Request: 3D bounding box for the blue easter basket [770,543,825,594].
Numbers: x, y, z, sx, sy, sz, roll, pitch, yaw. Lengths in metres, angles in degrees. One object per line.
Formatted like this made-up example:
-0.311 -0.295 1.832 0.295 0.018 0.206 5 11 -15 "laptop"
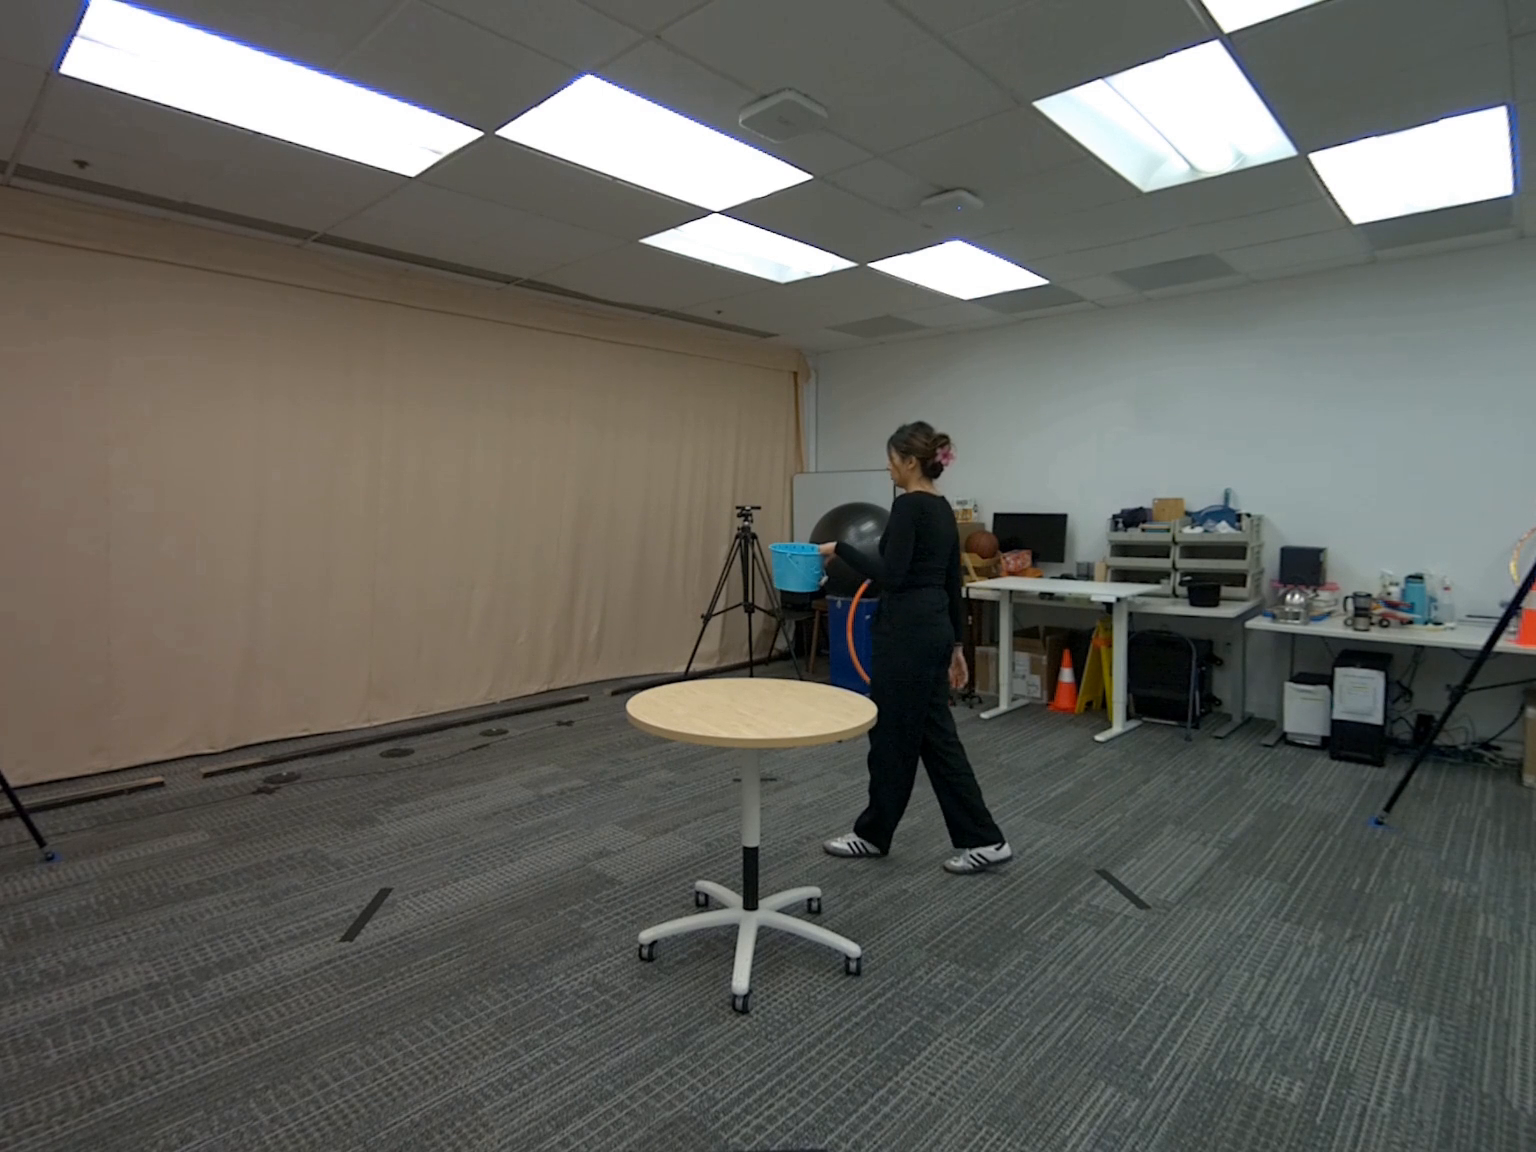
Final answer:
0.139 -0.033 3.260 0.243 0.155 0.245 2 9 -2 "blue easter basket"
